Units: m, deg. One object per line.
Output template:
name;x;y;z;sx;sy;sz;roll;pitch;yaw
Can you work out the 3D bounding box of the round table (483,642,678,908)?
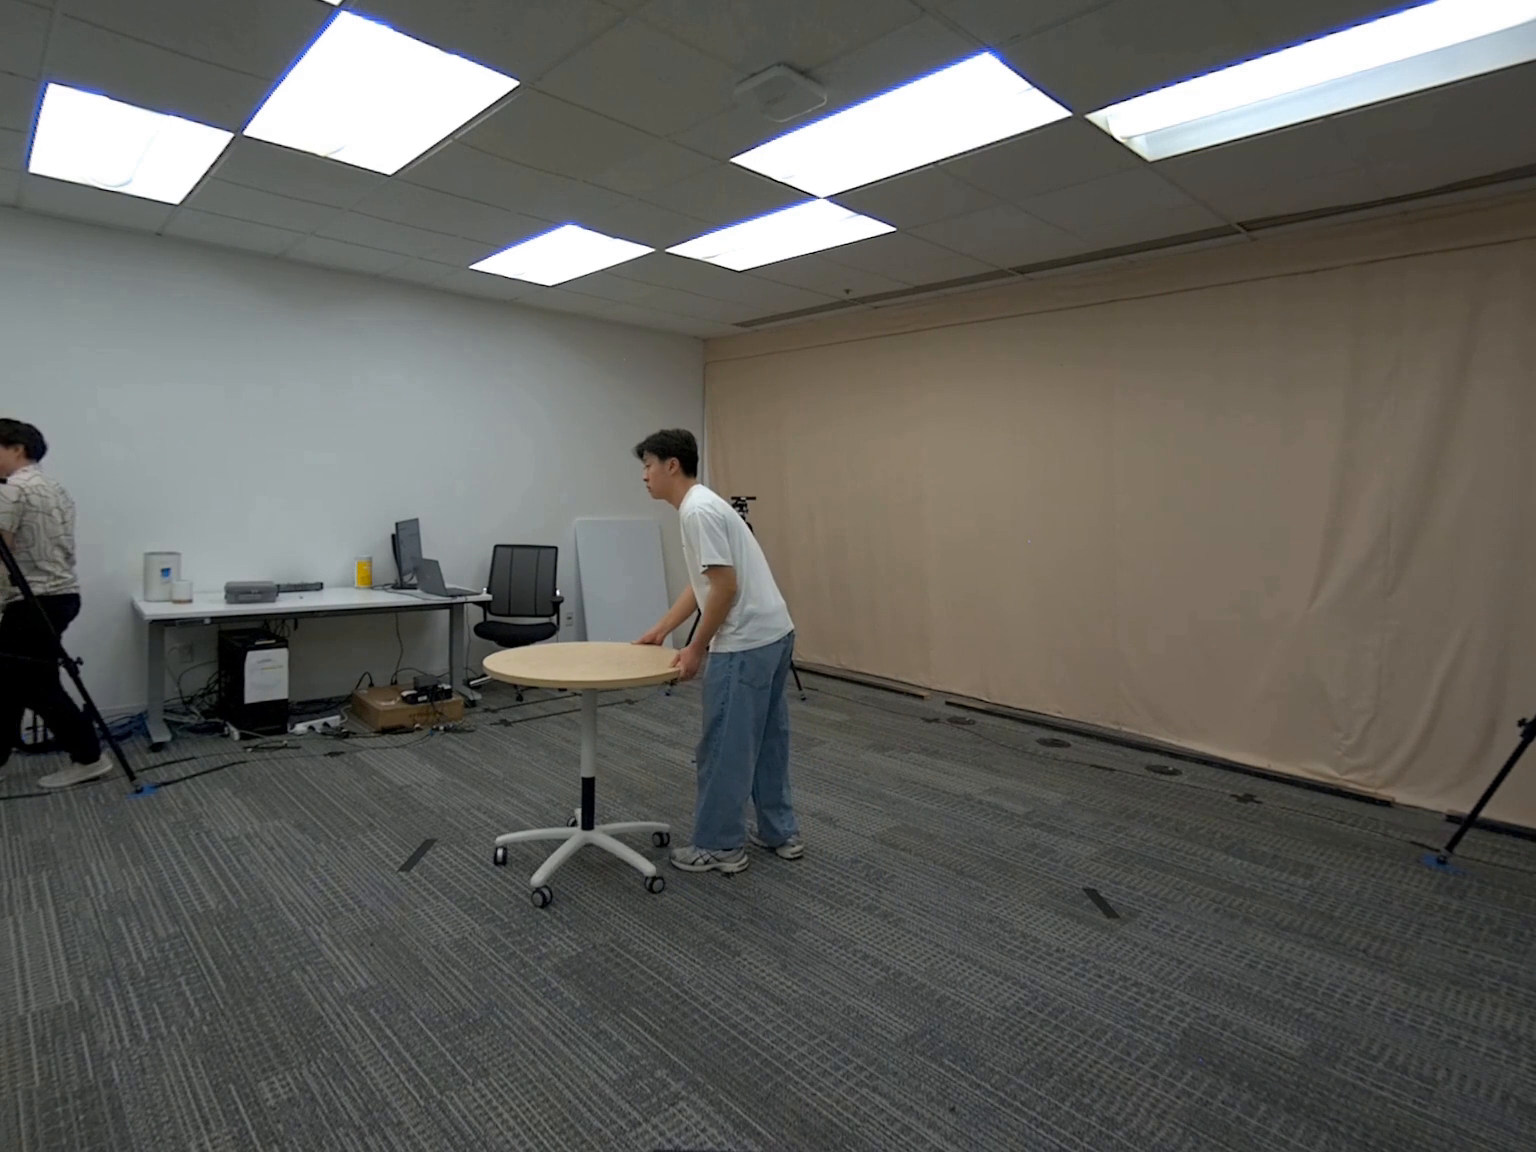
round table;-0.675;0.692;3.160;0.784;0.784;0.788;2;4;-2
